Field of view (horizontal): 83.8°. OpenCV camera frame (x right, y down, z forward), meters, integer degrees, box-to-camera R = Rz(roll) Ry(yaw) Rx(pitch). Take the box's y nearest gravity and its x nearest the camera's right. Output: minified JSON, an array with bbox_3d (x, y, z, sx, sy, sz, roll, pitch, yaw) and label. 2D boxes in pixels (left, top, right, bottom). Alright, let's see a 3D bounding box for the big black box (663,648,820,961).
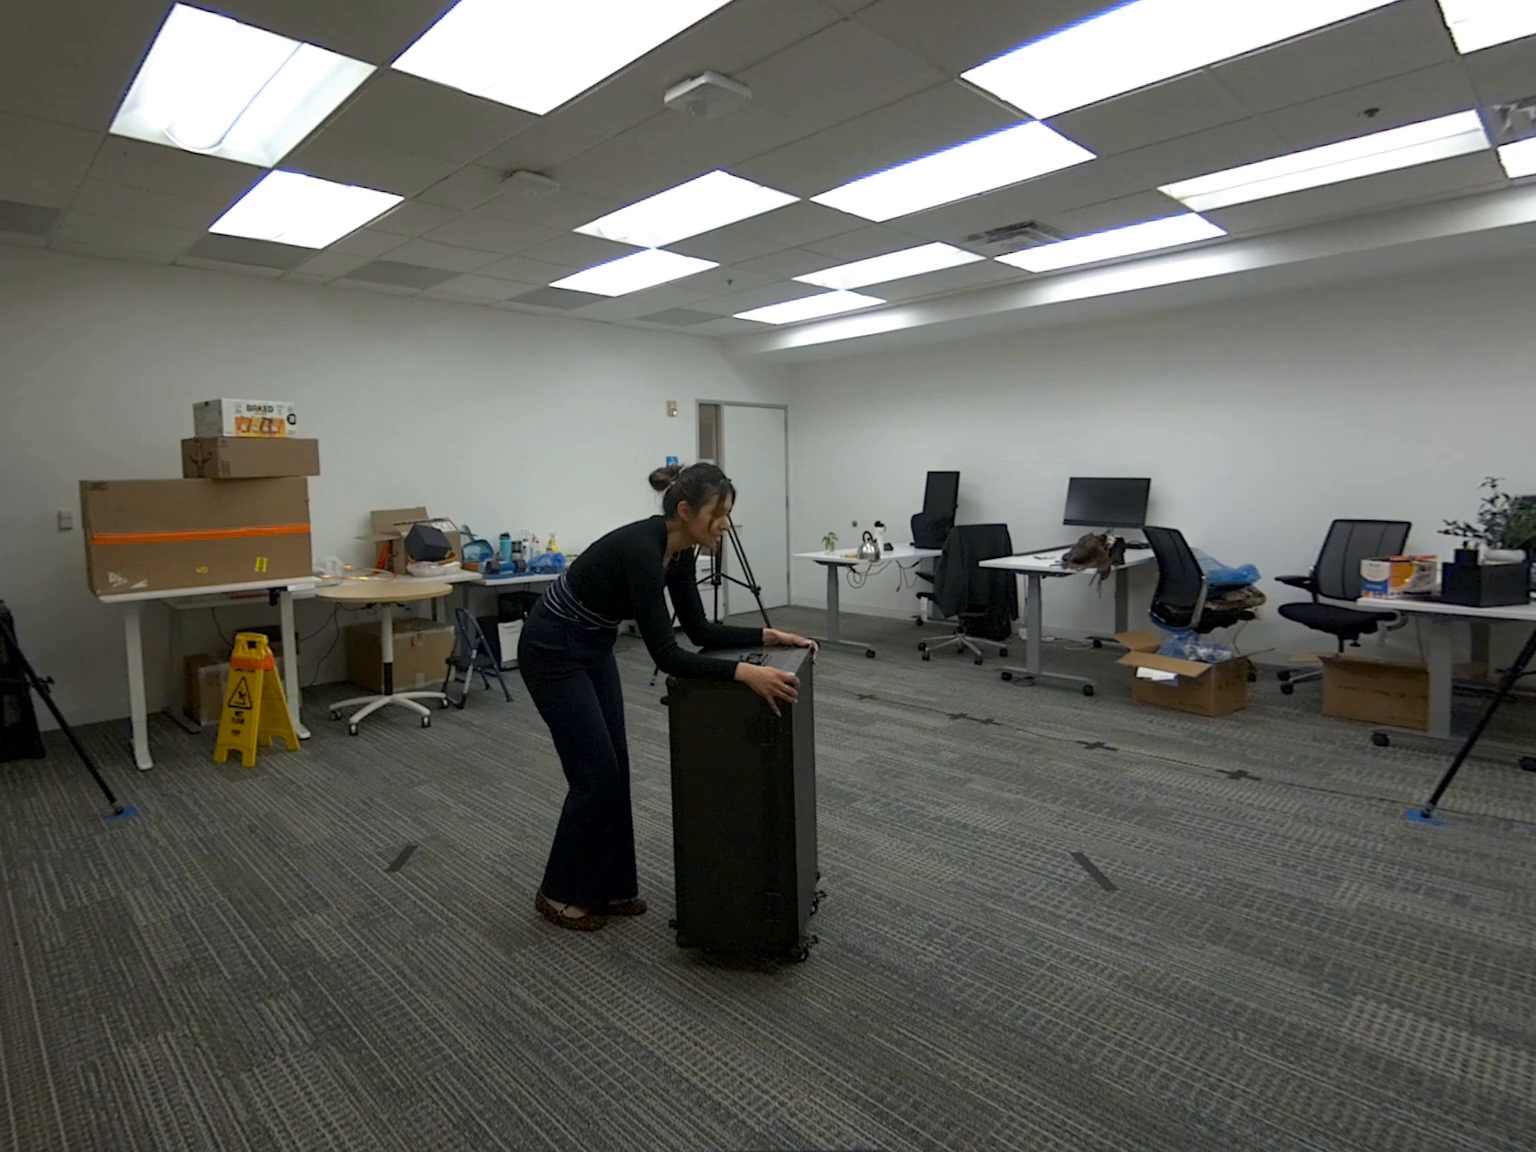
[{"bbox_3d":[-0.066,0.681,2.604,0.401,0.859,0.516,-1,4,13],"label":"big black box"}]
